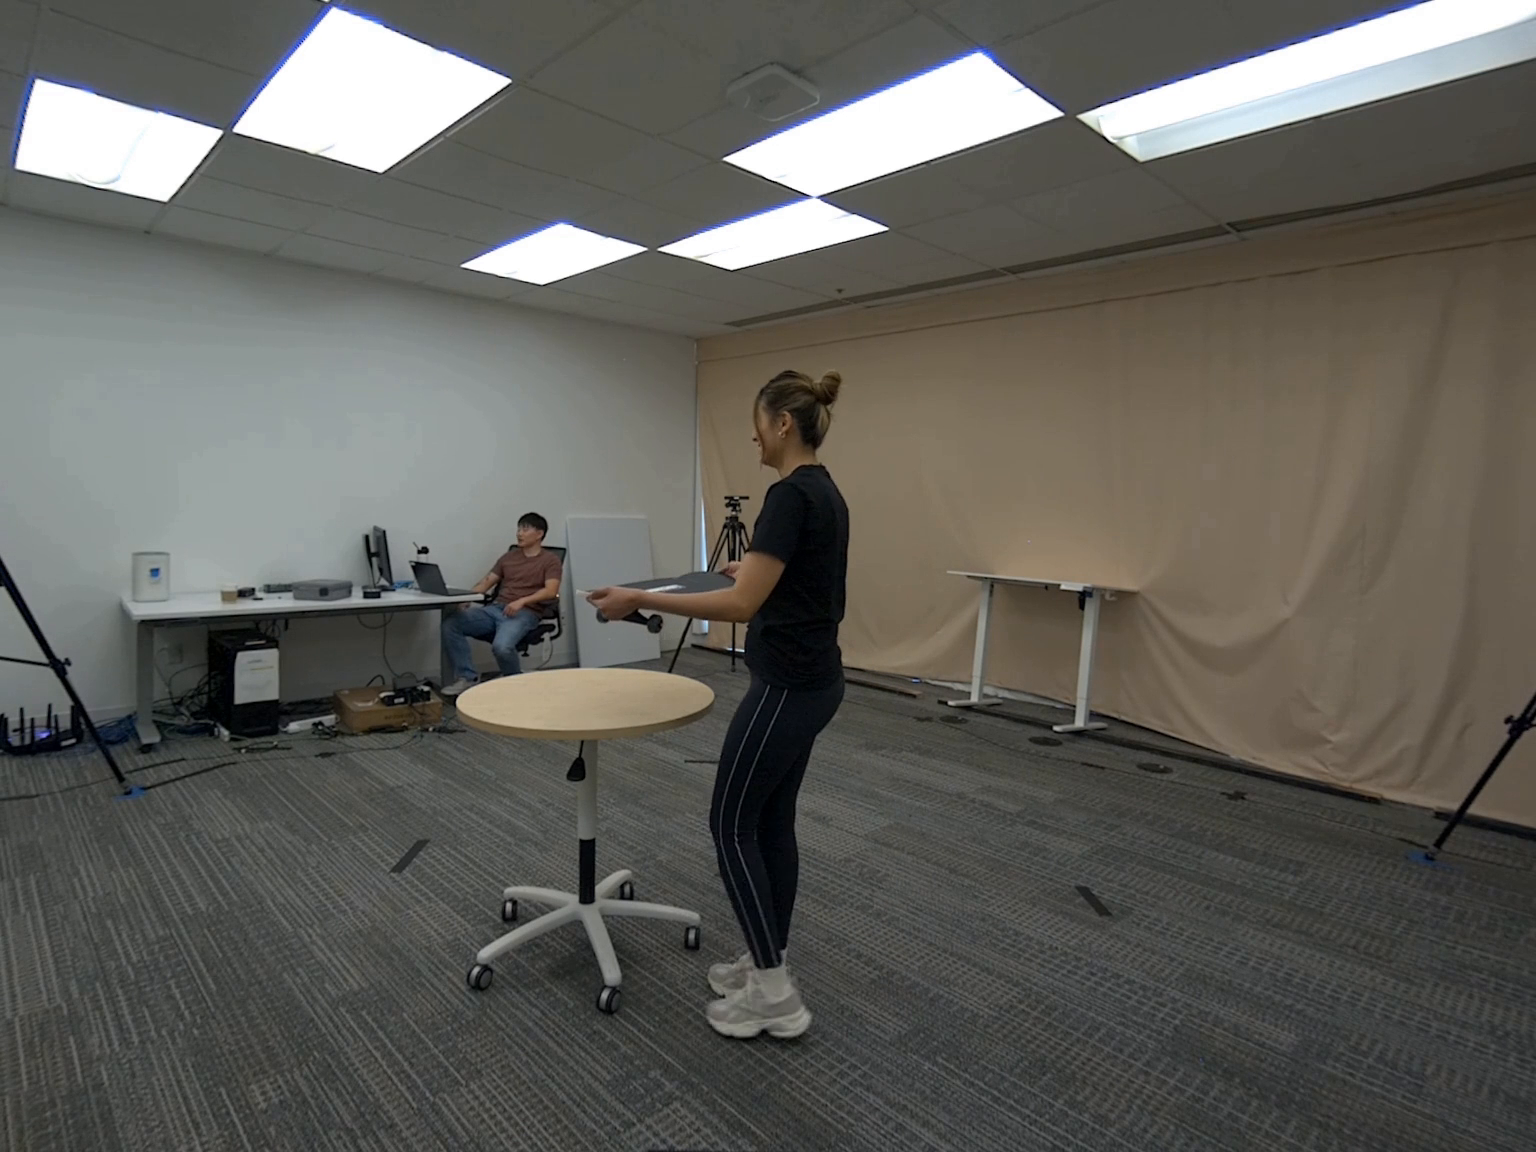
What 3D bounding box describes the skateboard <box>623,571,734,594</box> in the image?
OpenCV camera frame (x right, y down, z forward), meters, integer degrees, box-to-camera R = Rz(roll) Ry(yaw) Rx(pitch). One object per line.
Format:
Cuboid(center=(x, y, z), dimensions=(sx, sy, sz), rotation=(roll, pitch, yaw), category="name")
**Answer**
Cuboid(center=(-0.277, 0.076, 2.372), dimensions=(0.197, 0.110, 0.775), rotation=(6, 6, 19), category="skateboard")
